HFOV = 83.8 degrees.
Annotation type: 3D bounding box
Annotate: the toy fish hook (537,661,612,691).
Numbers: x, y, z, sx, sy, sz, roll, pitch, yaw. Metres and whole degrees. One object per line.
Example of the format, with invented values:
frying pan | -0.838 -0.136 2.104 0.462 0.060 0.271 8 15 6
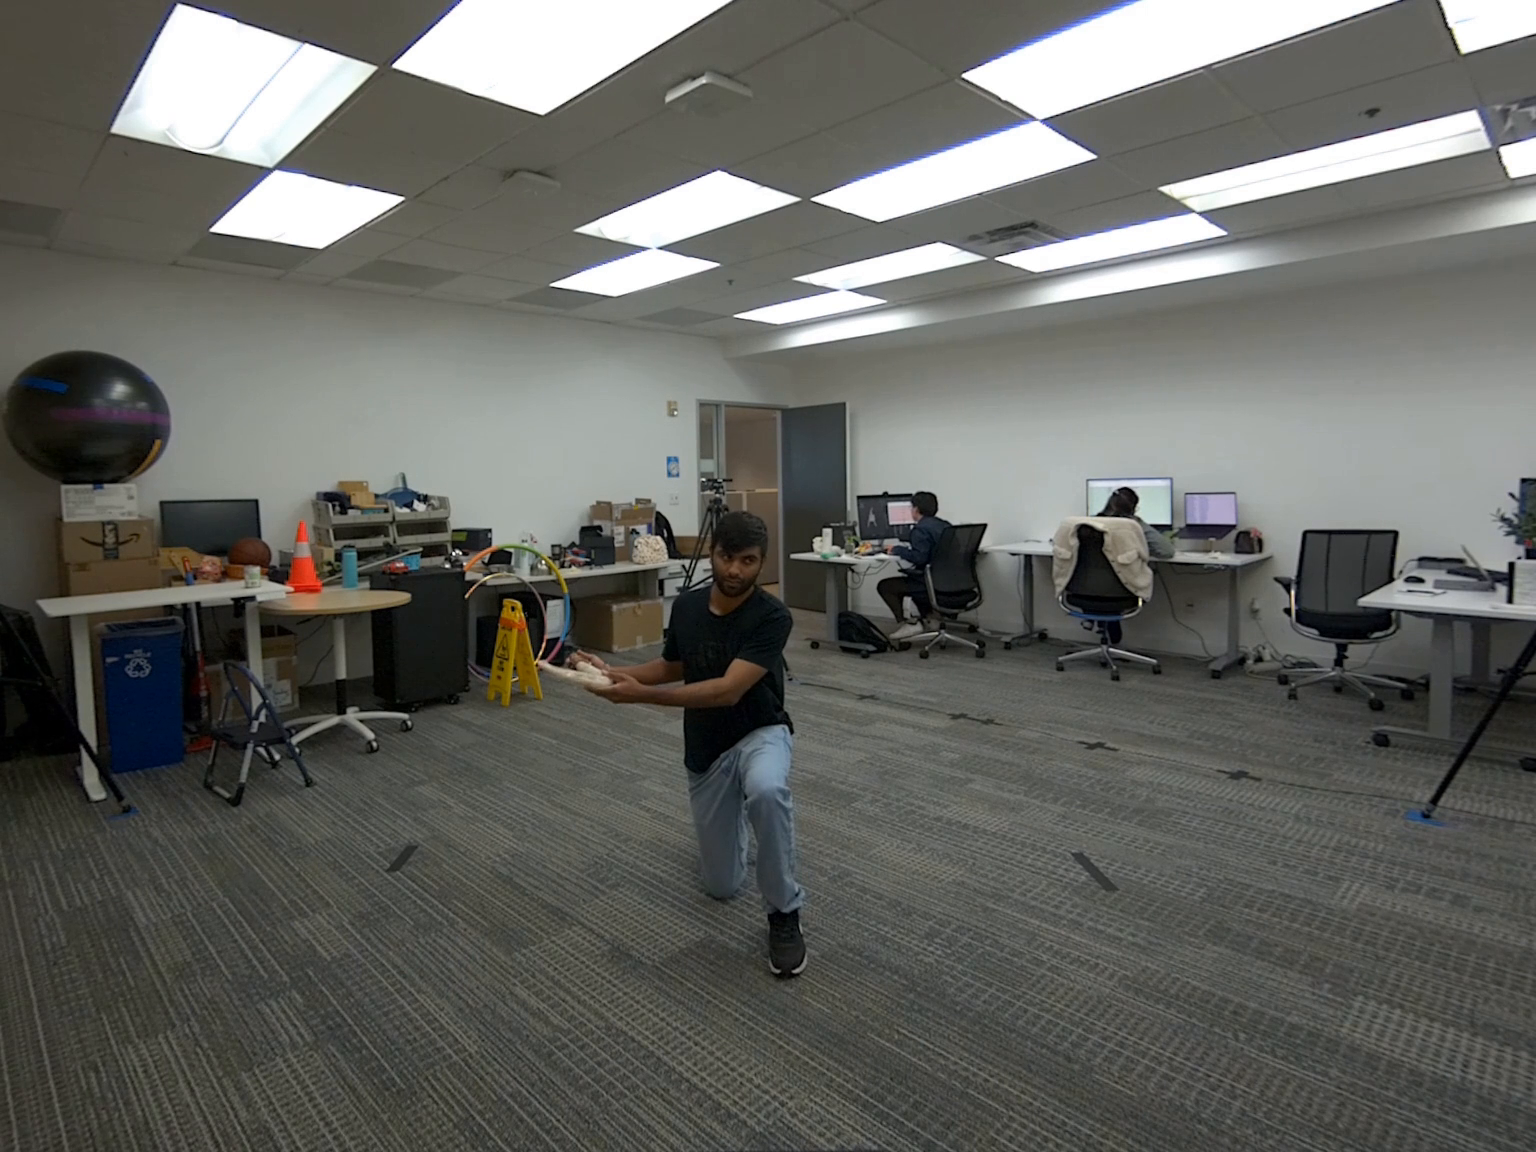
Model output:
toy fish hook | -0.615 0.285 2.663 0.220 0.048 0.517 20 -3 -20
